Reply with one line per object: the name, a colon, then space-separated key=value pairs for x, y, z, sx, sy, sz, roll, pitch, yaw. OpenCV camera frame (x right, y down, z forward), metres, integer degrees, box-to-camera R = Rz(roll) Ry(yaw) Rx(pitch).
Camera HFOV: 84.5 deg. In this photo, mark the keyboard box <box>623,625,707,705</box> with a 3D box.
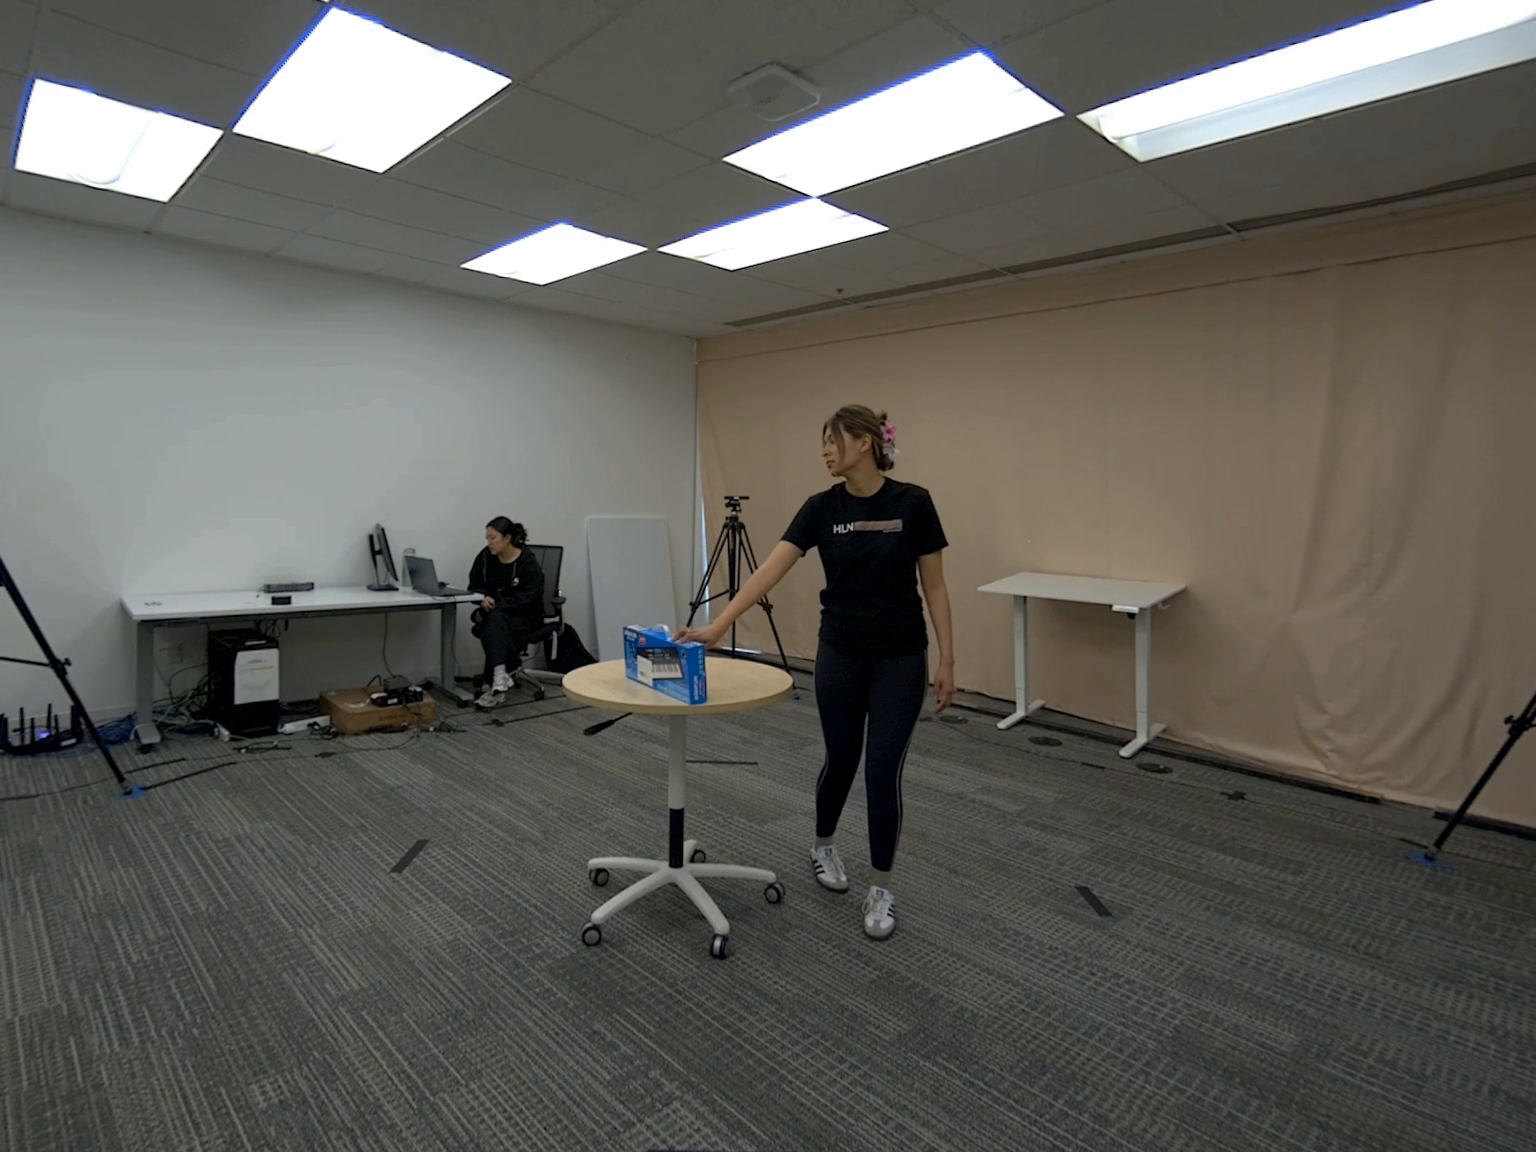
keyboard box: x=-0.331 y=0.272 z=2.638 sx=0.058 sy=0.175 sz=0.447 roll=-6 pitch=8 yaw=-34
